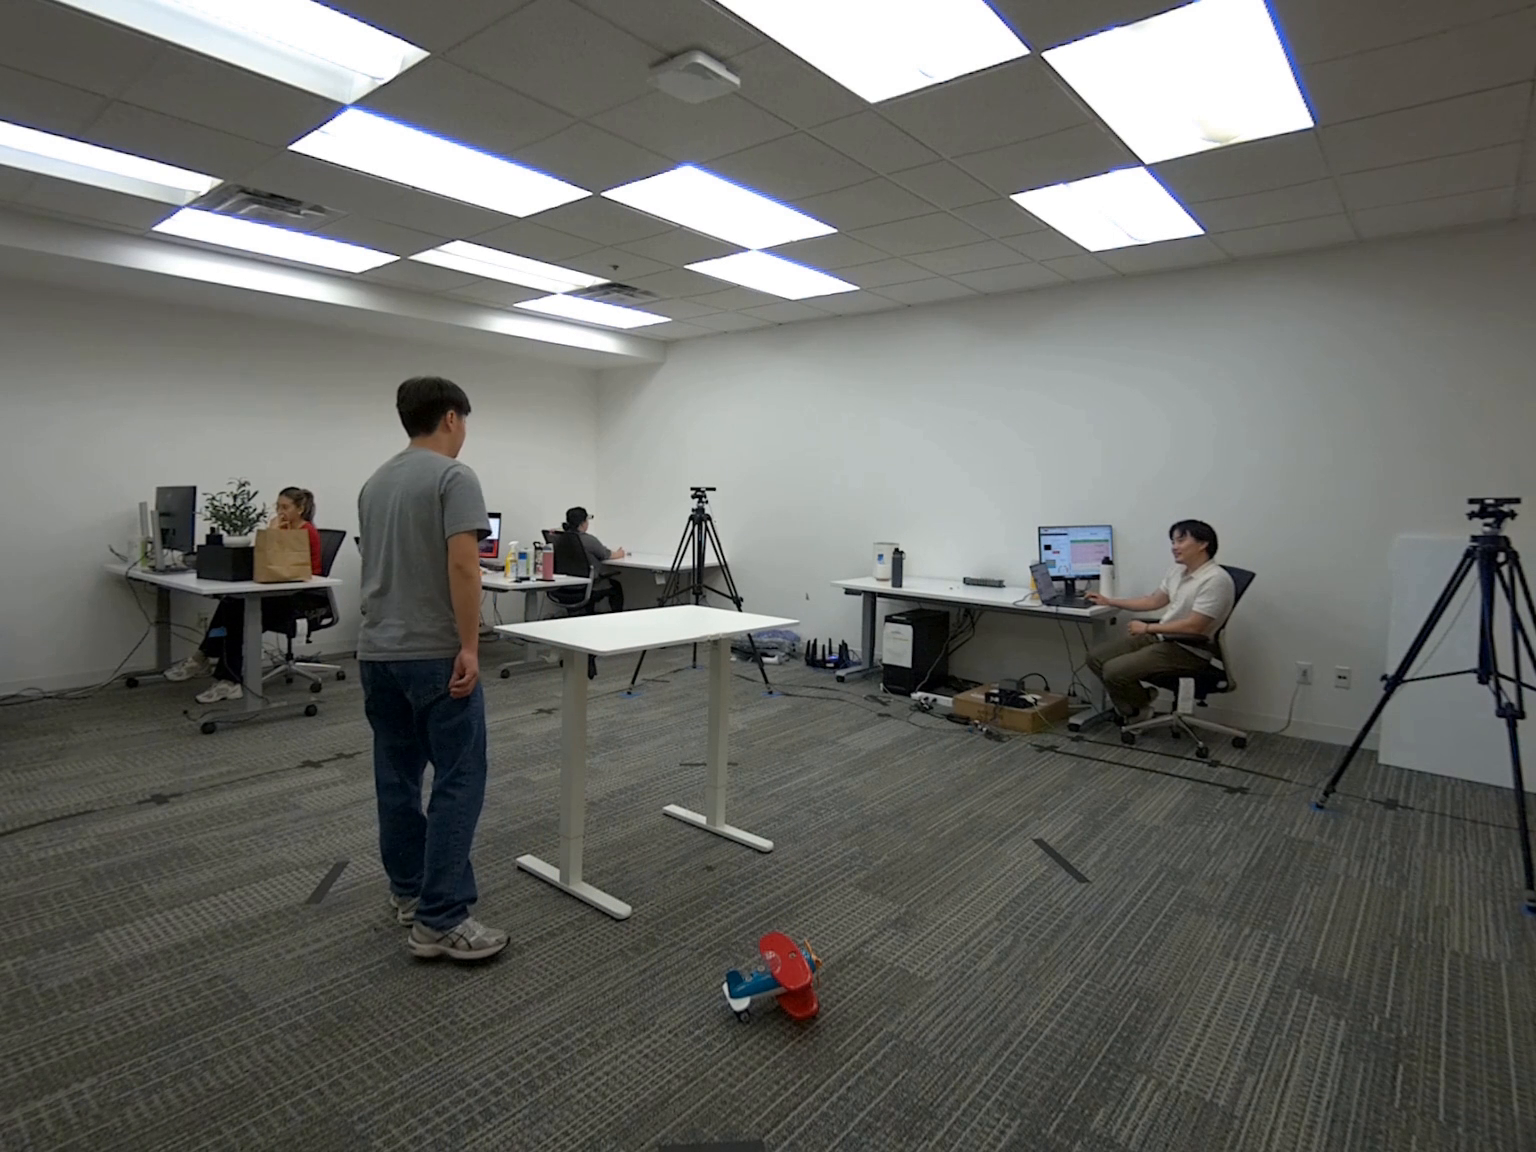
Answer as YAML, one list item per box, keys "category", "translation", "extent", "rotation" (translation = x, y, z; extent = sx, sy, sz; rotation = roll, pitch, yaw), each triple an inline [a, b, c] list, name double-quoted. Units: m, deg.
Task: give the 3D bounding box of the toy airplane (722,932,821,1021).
- category: "toy airplane"
  translation: [0.019, 1.084, 2.243]
  extent: [0.260, 0.156, 0.251]
  rotation: [6, 6, 43]
